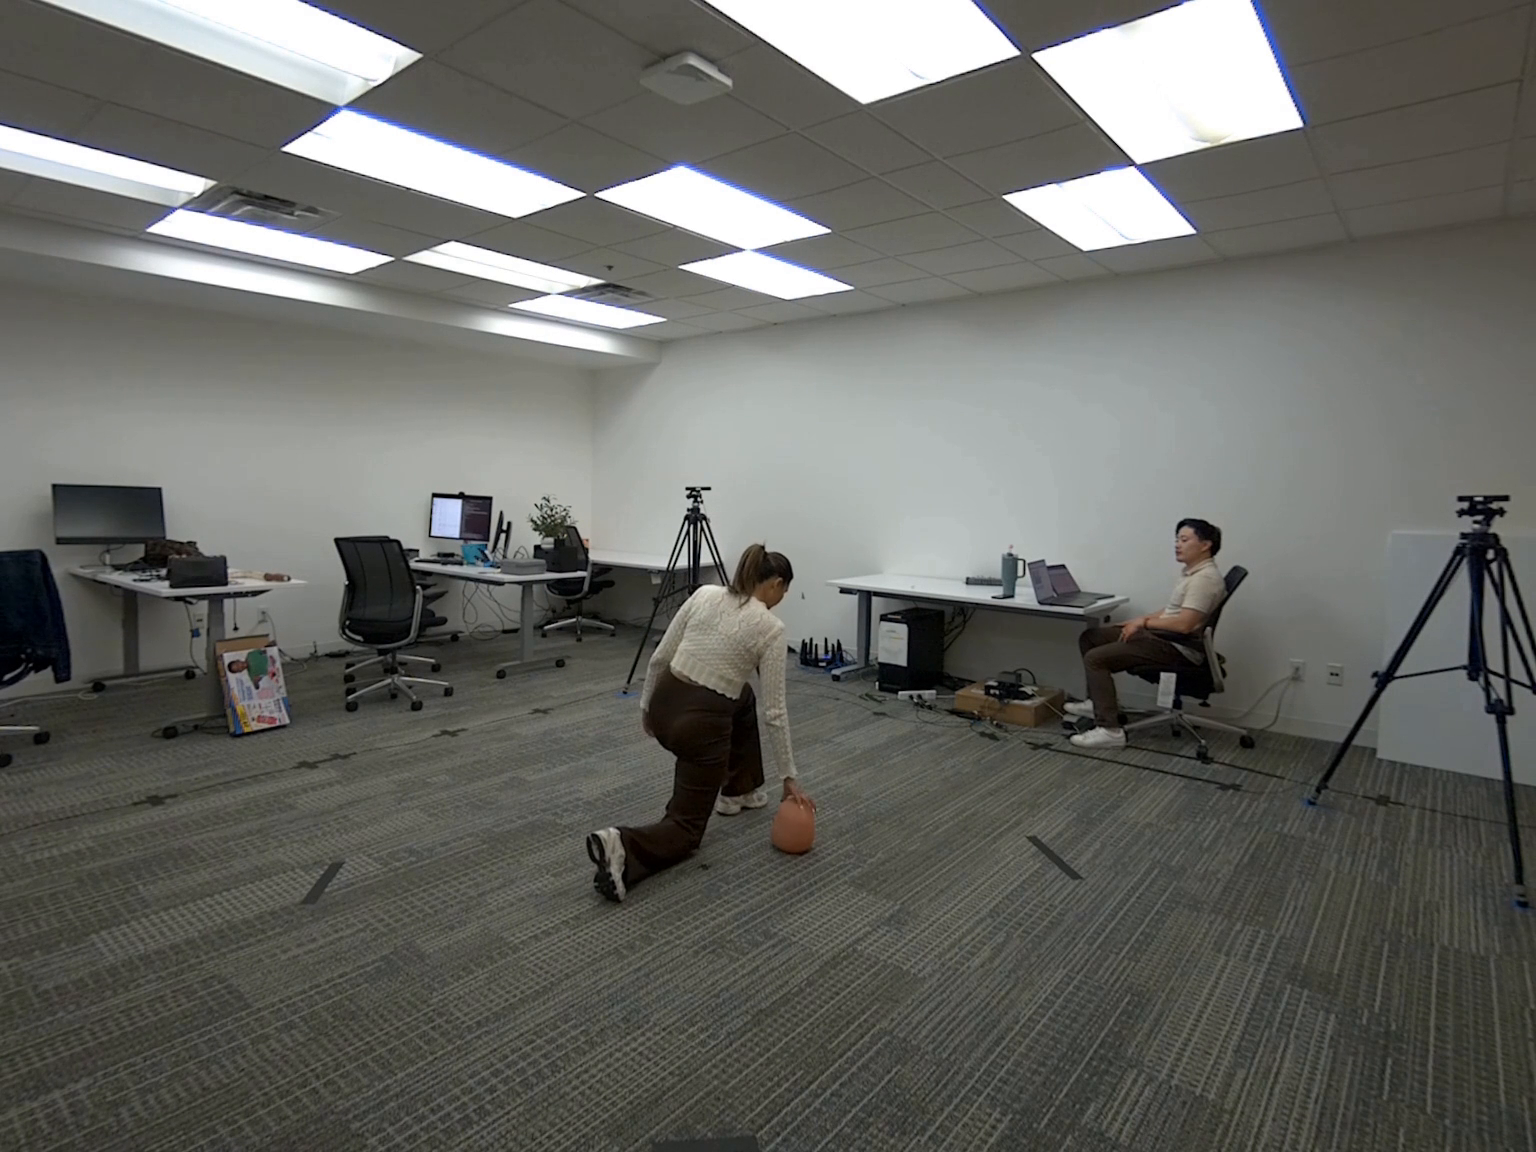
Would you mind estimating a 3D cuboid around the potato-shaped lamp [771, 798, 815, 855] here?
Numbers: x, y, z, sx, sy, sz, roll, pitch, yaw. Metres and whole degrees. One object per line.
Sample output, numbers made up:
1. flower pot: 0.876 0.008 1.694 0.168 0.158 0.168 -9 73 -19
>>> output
1. potato-shaped lamp: 0.090 0.952 3.288 0.162 0.196 0.176 -1 11 -19
